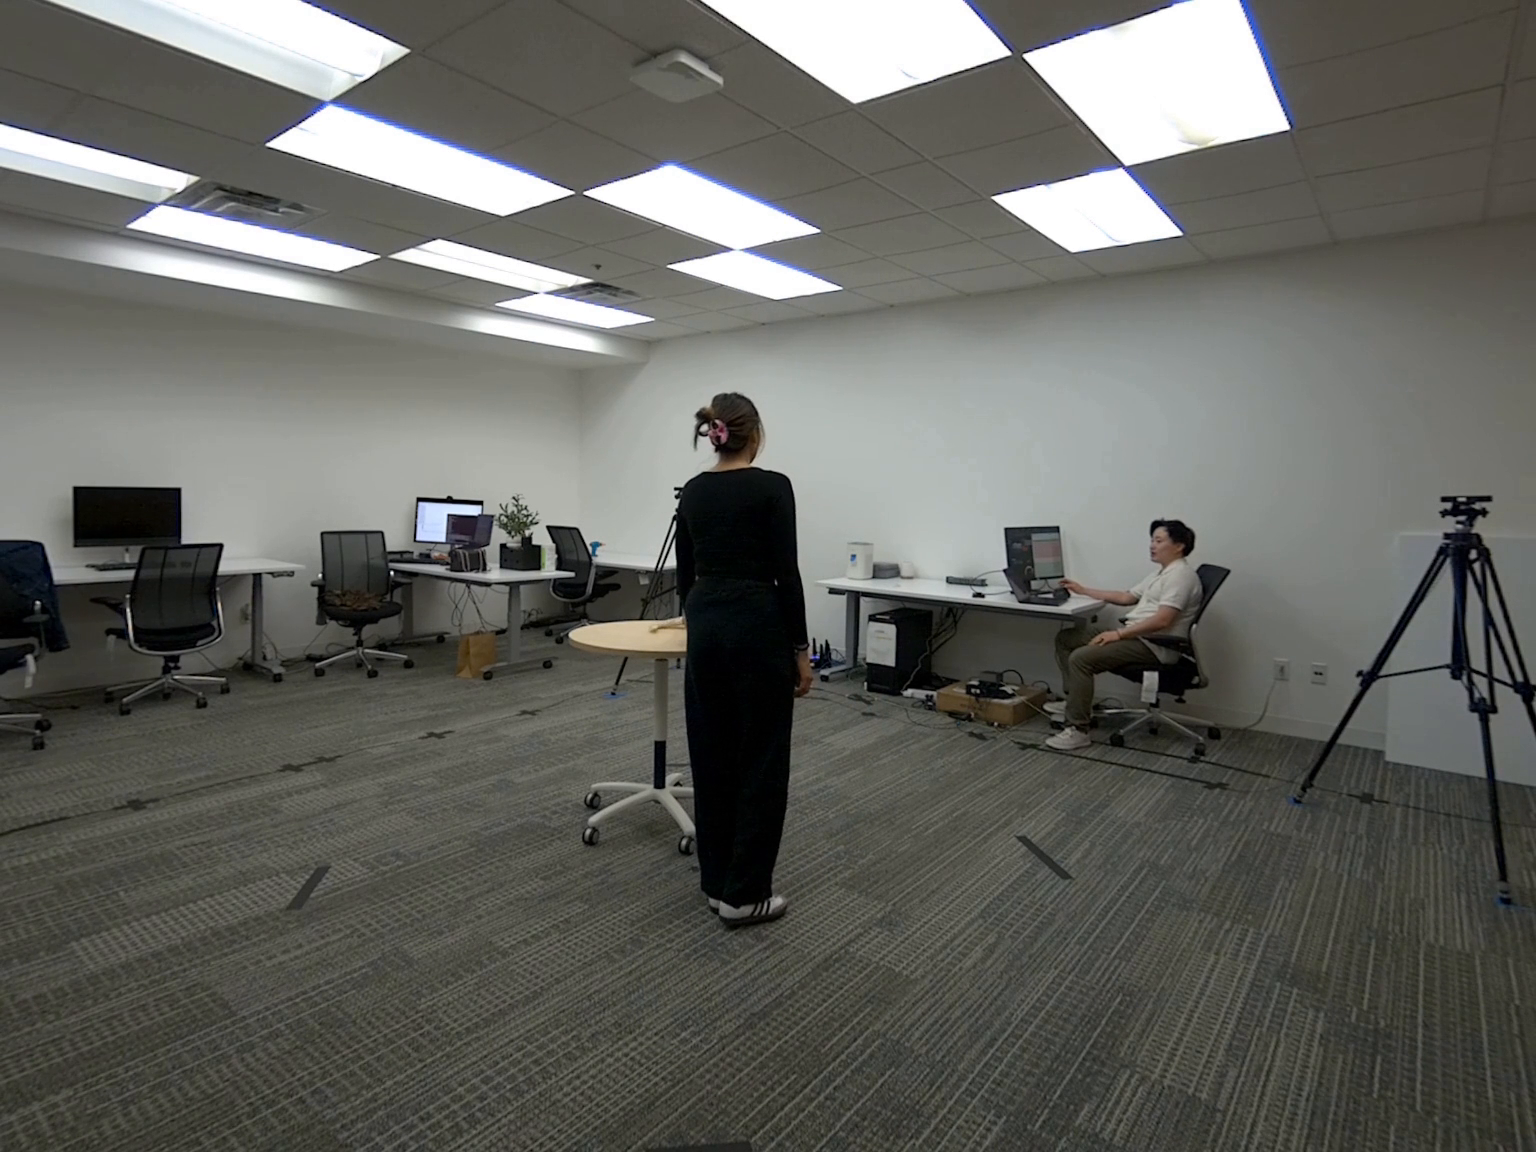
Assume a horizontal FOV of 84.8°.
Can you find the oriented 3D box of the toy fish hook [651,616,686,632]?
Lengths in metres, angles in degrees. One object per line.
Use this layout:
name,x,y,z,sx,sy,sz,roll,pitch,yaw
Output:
toy fish hook,-0.370,0.182,3.486,0.223,0.048,0.508,-11,-3,-10
